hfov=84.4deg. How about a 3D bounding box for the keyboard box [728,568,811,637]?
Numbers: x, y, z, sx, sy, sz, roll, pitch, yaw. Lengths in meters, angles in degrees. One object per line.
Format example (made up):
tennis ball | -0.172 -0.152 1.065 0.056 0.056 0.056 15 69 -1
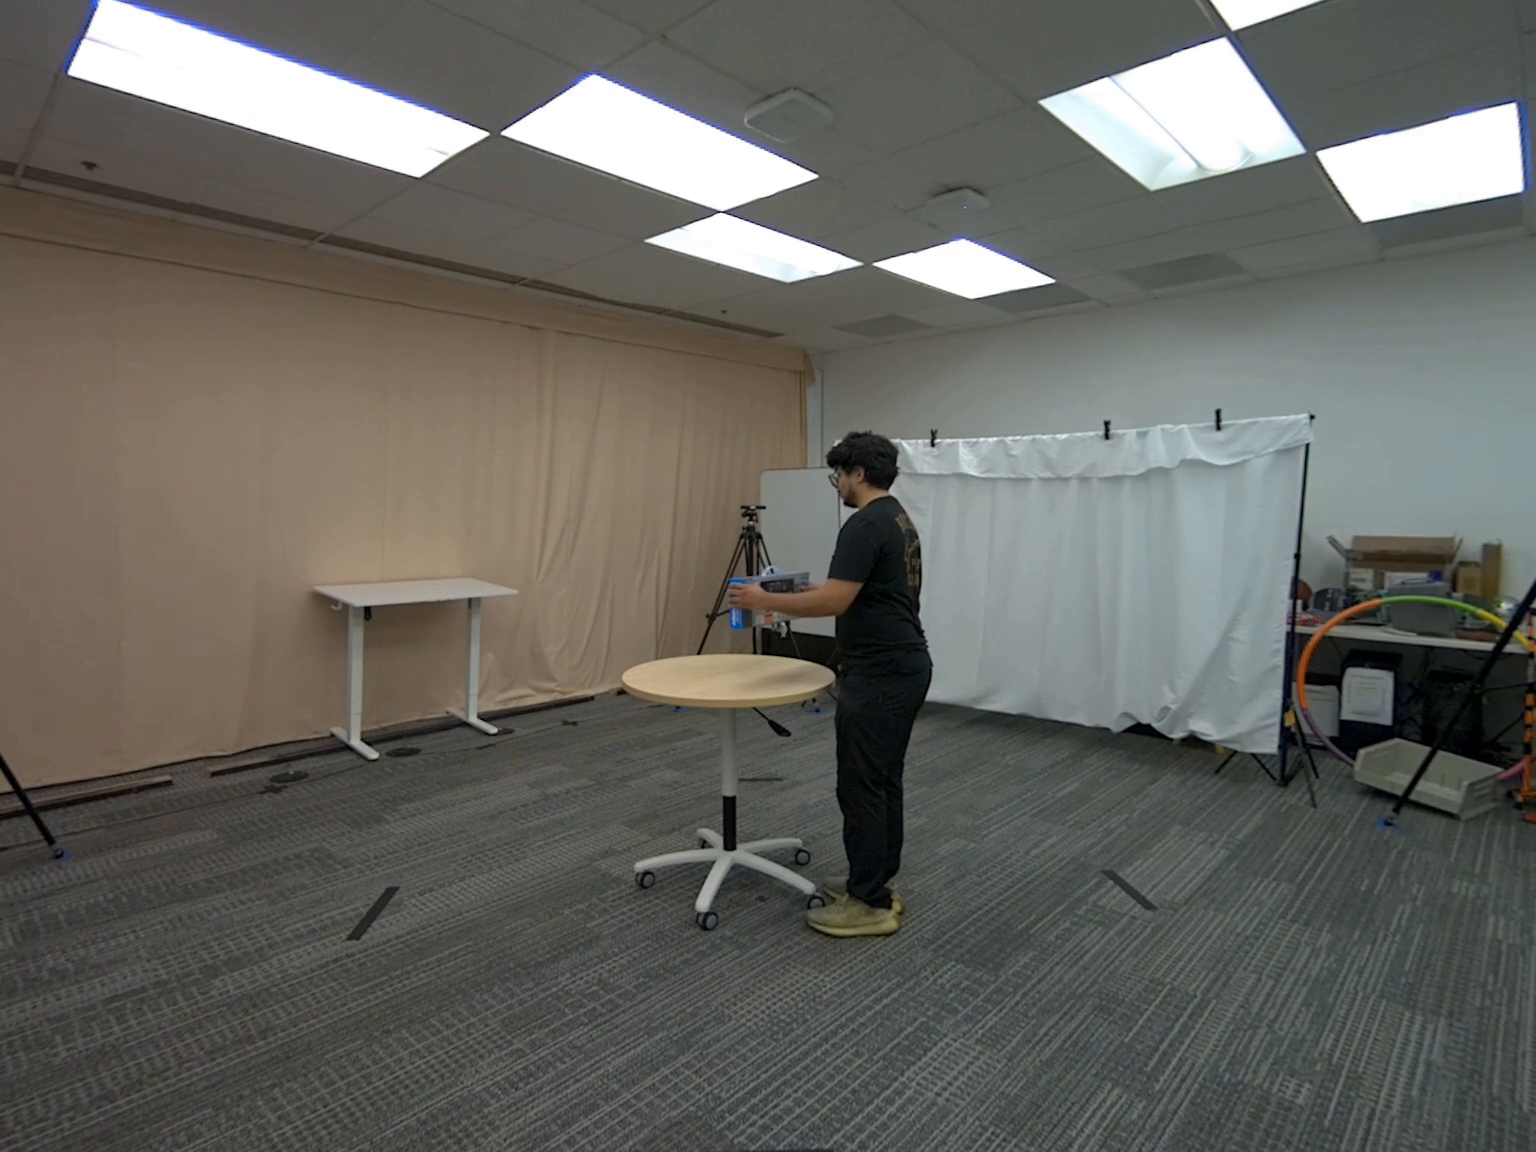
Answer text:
keyboard box | 0.017 0.086 3.050 0.061 0.176 0.424 1 3 35
